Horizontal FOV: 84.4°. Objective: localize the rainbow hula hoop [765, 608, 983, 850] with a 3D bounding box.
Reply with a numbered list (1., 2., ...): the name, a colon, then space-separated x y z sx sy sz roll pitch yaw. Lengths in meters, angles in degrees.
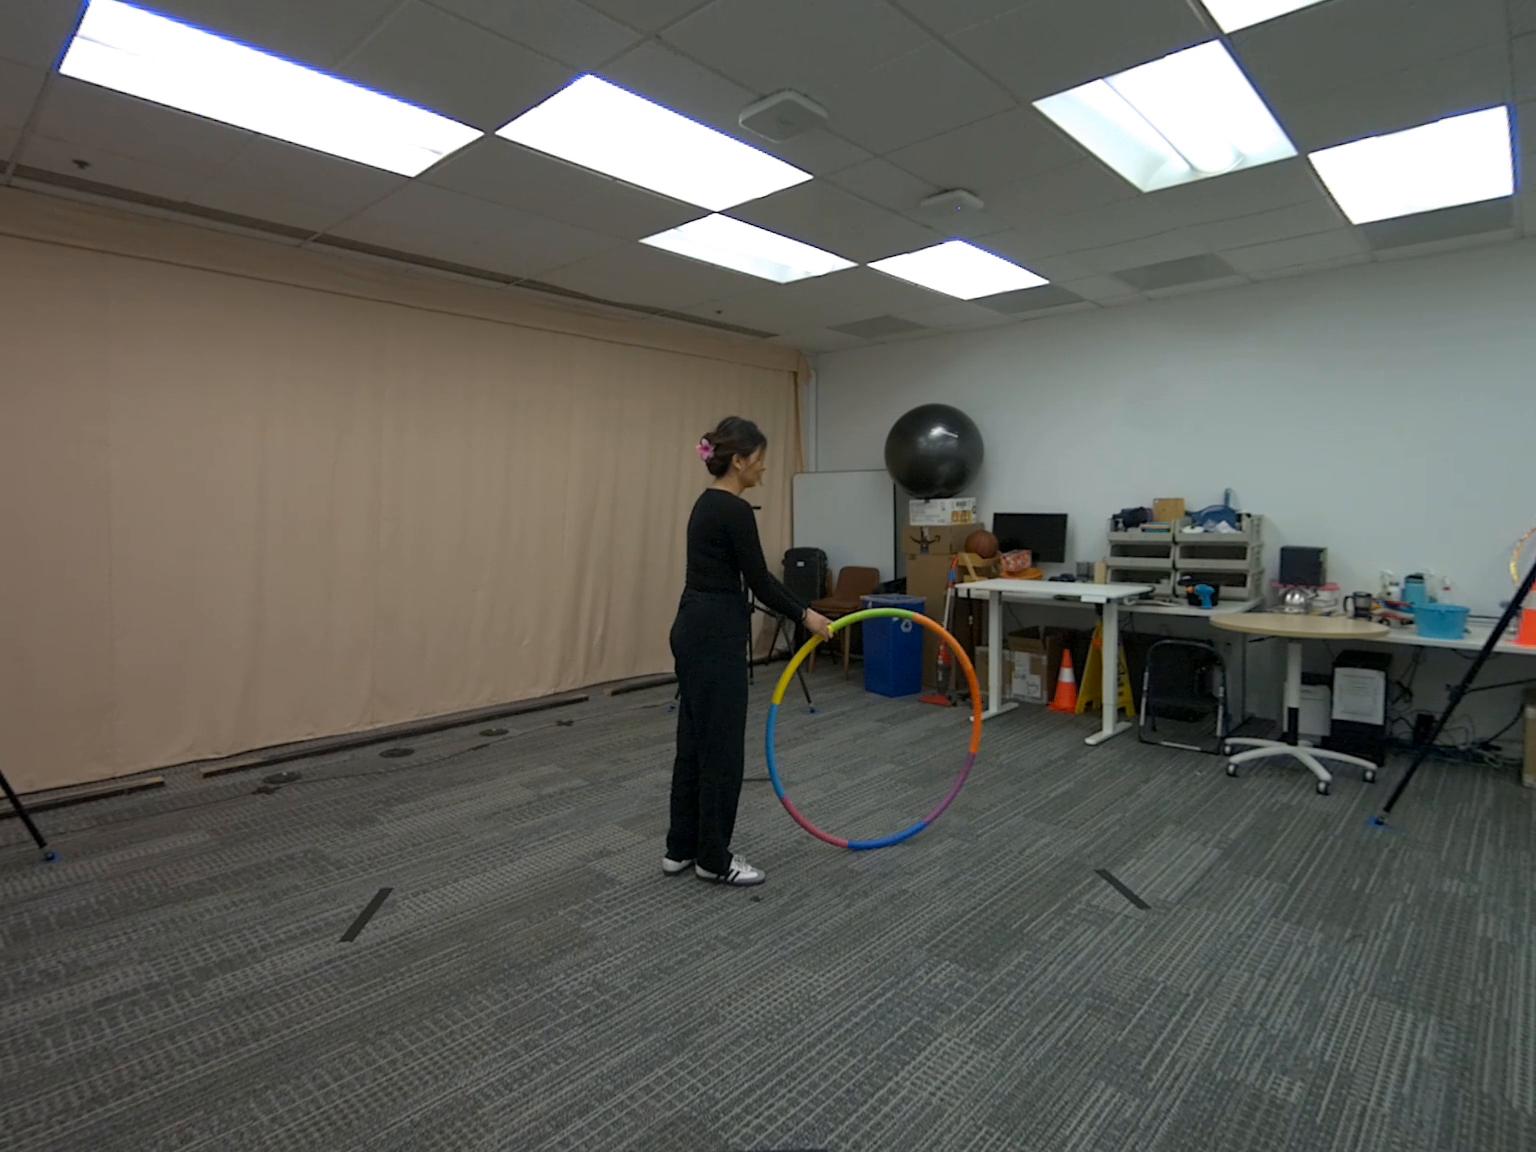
1. rainbow hula hoop: 0.443 0.627 3.400 0.959 0.976 0.036 -1 5 -20
